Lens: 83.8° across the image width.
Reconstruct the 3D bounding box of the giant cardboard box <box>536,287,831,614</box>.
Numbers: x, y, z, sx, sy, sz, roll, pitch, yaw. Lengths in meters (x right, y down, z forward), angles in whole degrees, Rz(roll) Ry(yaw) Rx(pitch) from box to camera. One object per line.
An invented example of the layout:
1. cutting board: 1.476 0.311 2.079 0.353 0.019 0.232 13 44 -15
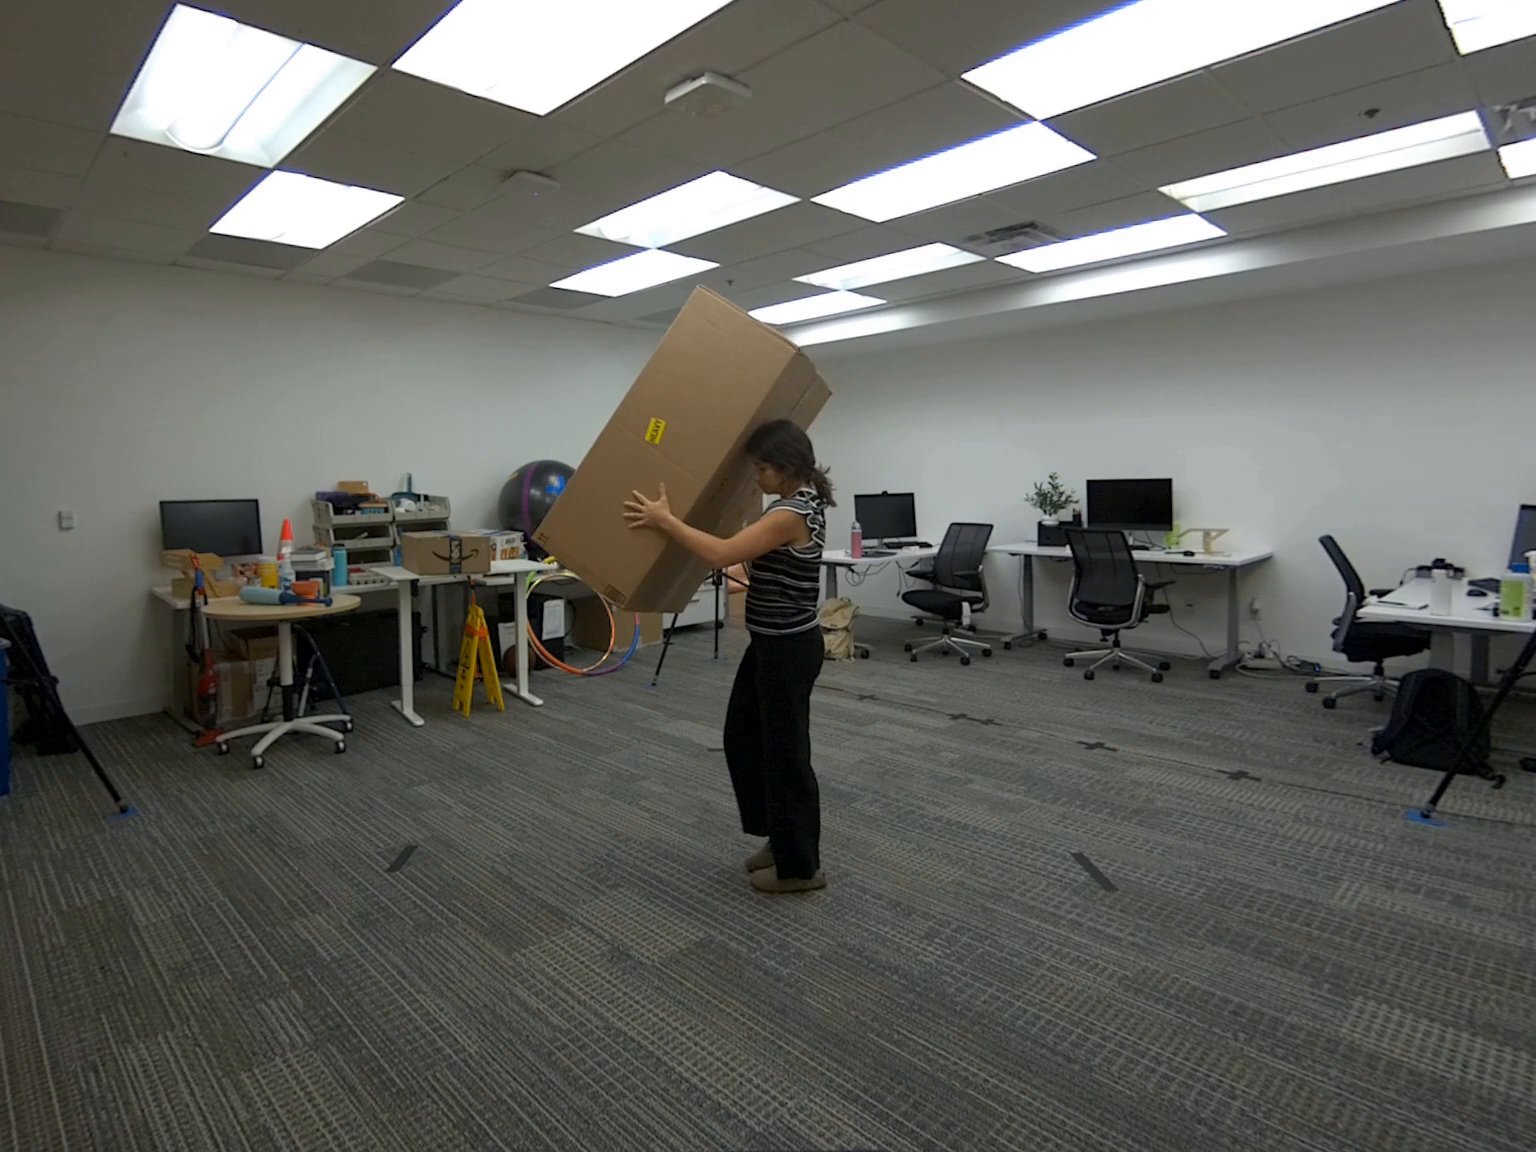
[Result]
1. giant cardboard box: -0.282 -0.401 3.053 0.436 1.024 0.566 36 6 15
